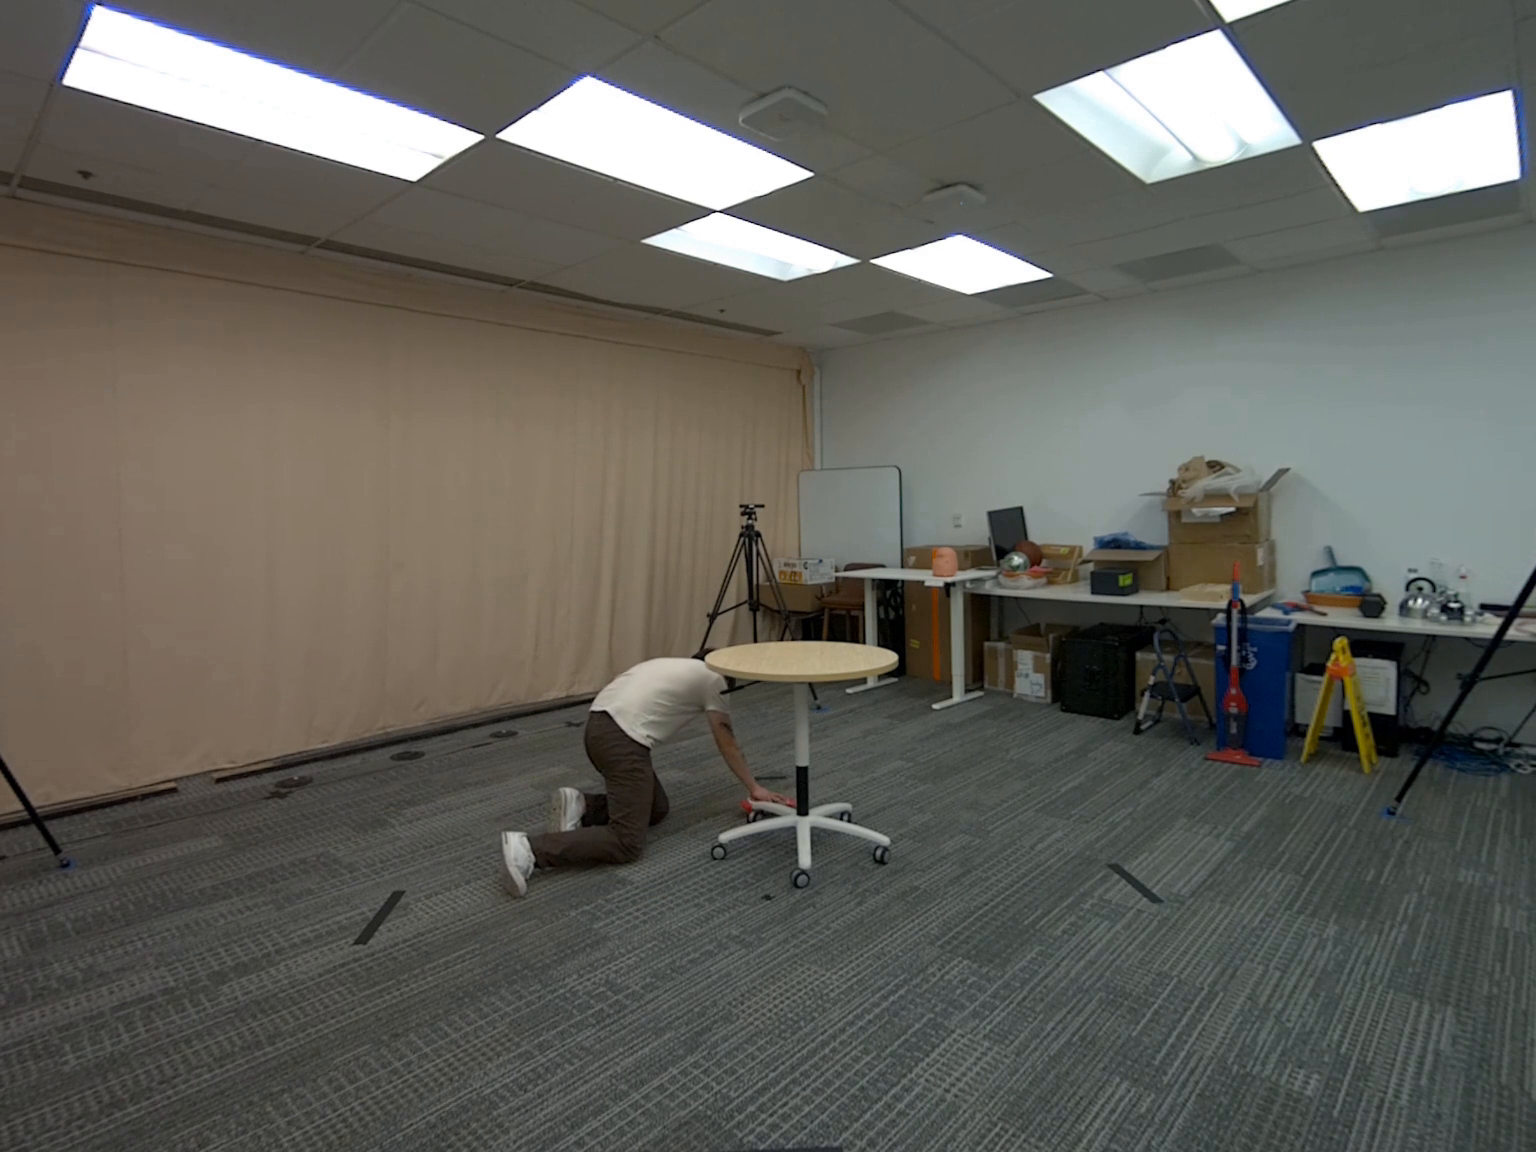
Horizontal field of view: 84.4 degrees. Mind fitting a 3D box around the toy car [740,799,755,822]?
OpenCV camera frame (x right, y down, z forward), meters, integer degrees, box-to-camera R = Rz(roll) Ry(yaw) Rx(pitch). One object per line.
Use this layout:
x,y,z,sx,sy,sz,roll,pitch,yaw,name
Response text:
-0.024,1.042,3.802,0.252,0.083,0.132,10,1,-9,toy car
